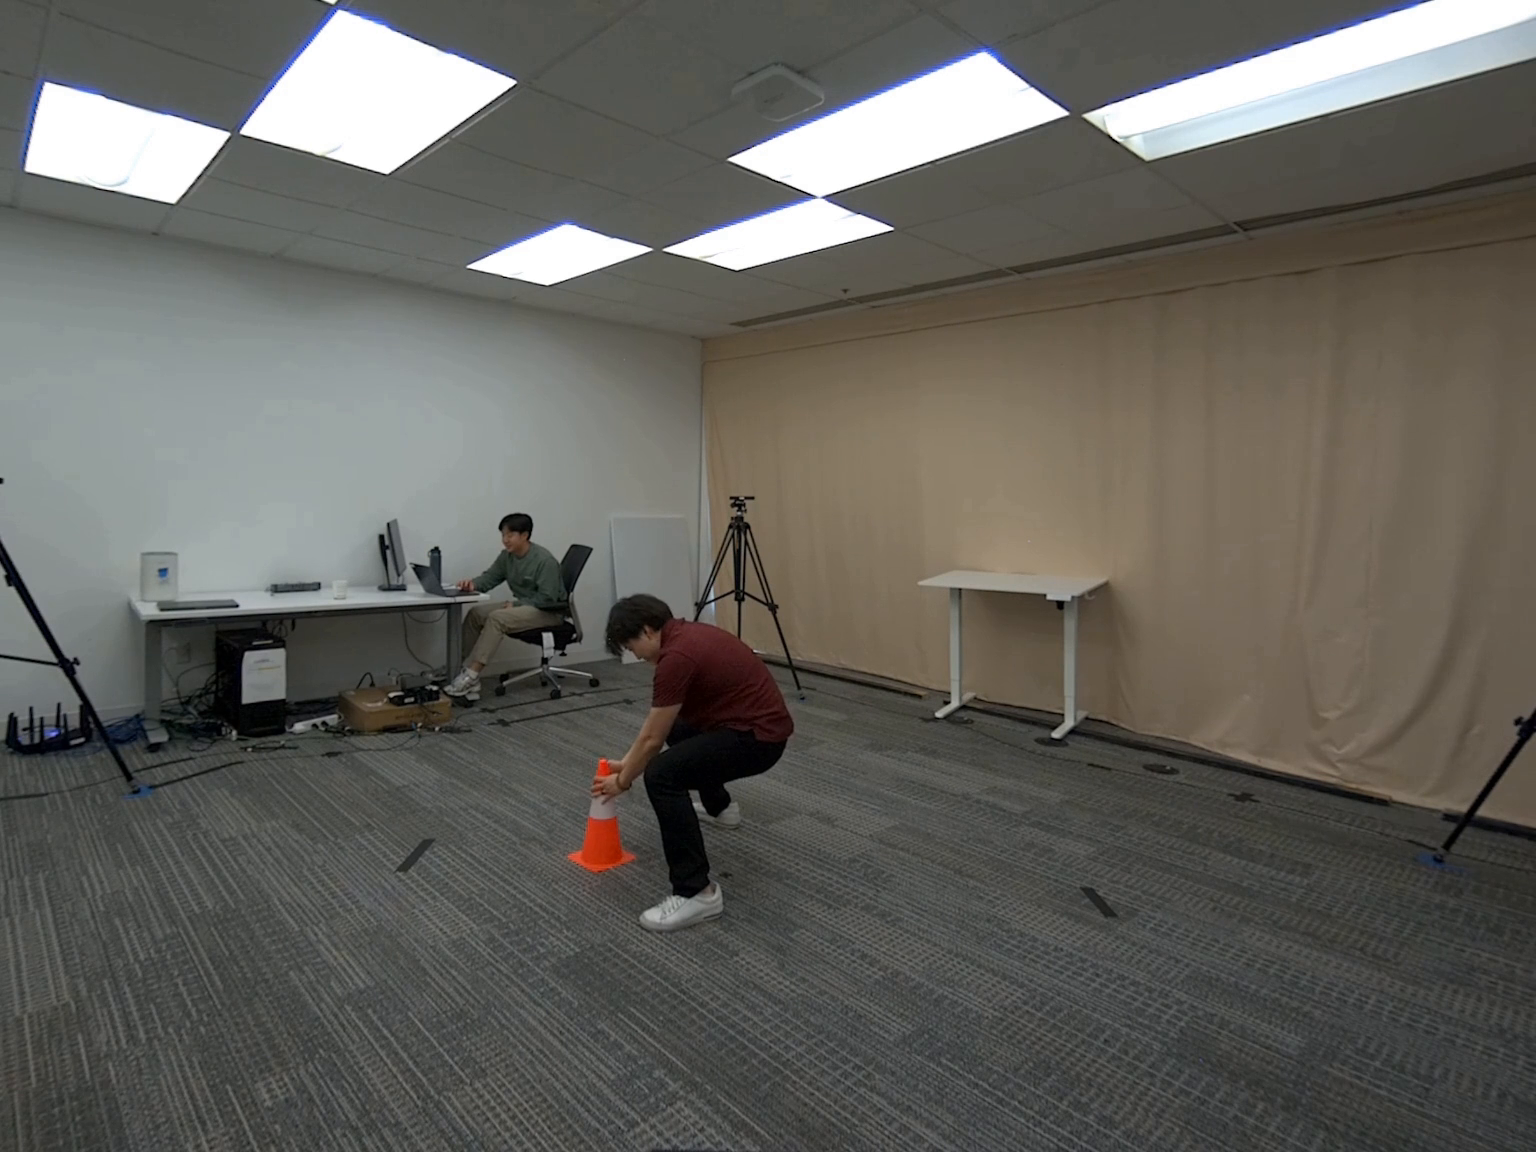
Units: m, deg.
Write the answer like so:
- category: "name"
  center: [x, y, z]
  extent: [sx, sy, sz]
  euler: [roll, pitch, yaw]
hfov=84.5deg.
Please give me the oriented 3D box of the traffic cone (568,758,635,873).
- category: "traffic cone"
  center: [-0.645, 0.899, 3.224]
  extent: [0.201, 0.383, 0.208]
  euler: [0, 3, -31]
